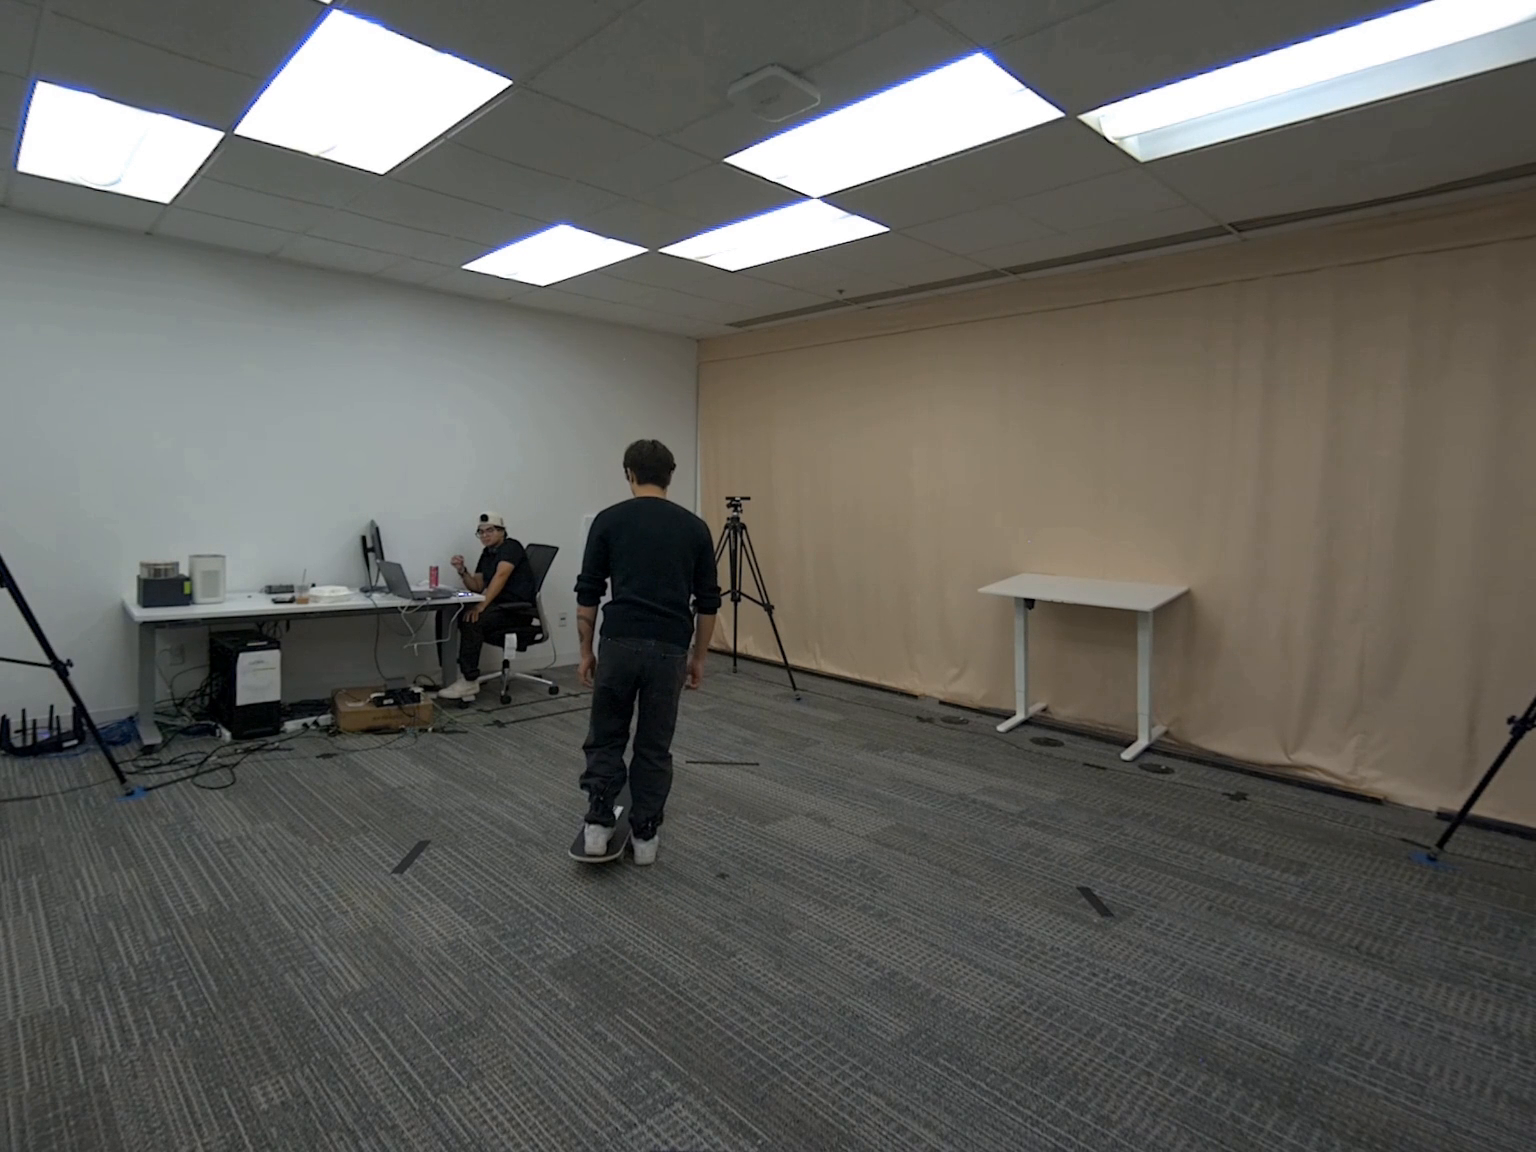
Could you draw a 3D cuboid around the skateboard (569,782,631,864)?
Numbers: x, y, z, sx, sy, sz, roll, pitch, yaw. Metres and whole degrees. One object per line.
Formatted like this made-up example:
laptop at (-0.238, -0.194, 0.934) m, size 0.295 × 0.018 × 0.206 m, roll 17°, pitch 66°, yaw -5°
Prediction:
skateboard at (-0.639, 1.009, 3.406) m, size 0.194 × 0.110 × 0.786 m, roll 1°, pitch 8°, yaw 3°
